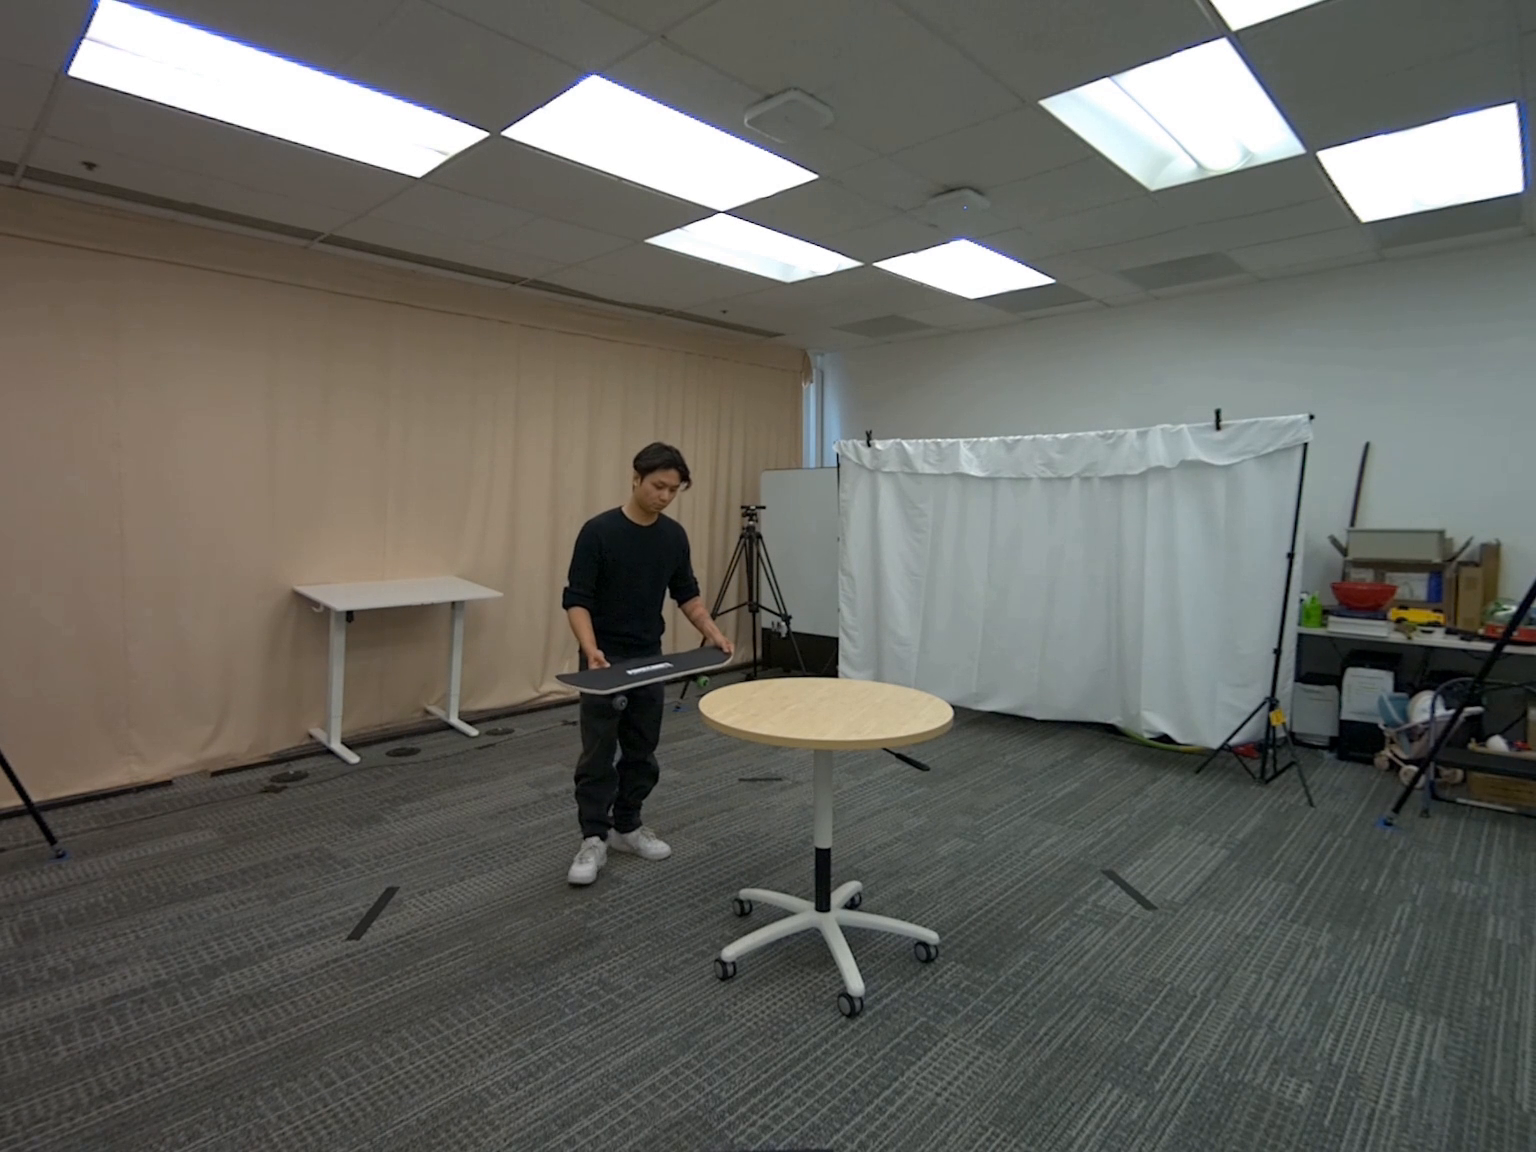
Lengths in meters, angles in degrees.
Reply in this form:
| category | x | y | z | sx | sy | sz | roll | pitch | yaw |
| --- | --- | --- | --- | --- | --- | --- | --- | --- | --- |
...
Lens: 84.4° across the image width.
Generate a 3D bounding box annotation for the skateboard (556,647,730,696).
| category | x | y | z | sx | sy | sz | roll | pitch | yaw |
| --- | --- | --- | --- | --- | --- | --- | --- | --- | --- |
| skateboard | -0.420 | 0.371 | 2.992 | 0.200 | 0.110 | 0.762 | 15 | 14 | 39 |
